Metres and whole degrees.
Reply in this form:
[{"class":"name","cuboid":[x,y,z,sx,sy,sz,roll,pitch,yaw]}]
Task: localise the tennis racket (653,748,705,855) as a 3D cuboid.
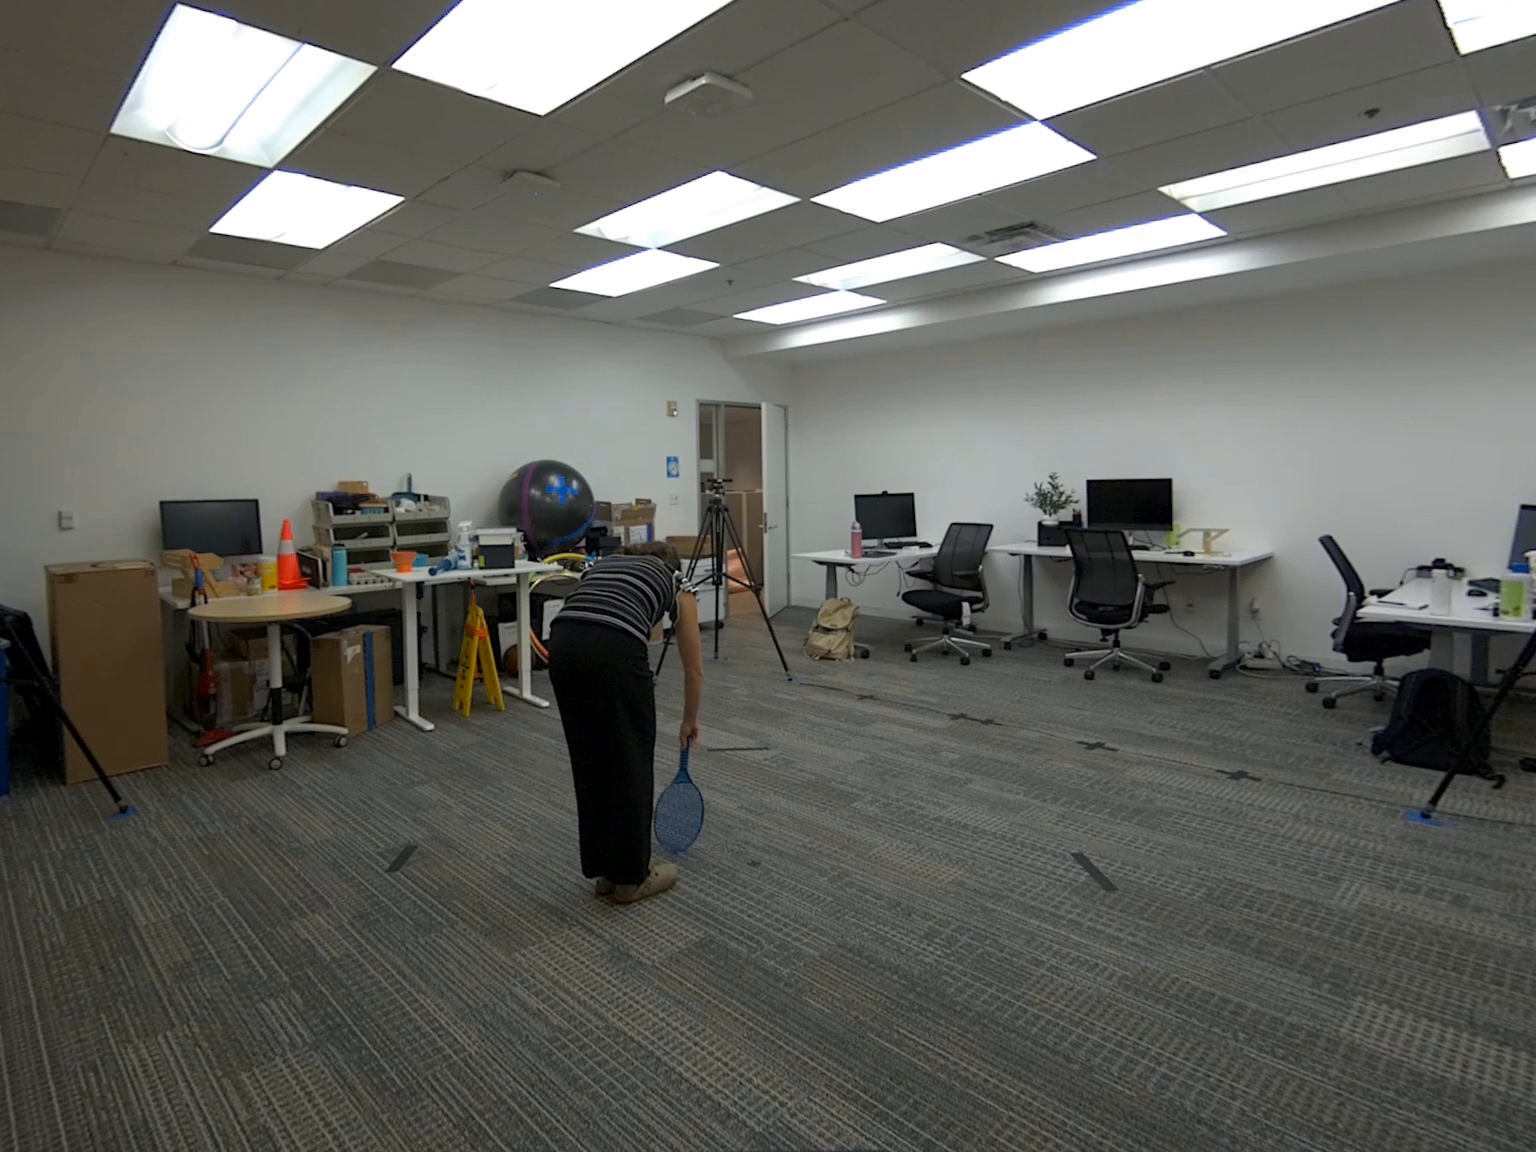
[{"class":"tennis racket","cuboid":[-0.320,0.821,3.219,0.208,0.434,0.032,8,-5,-31]}]
